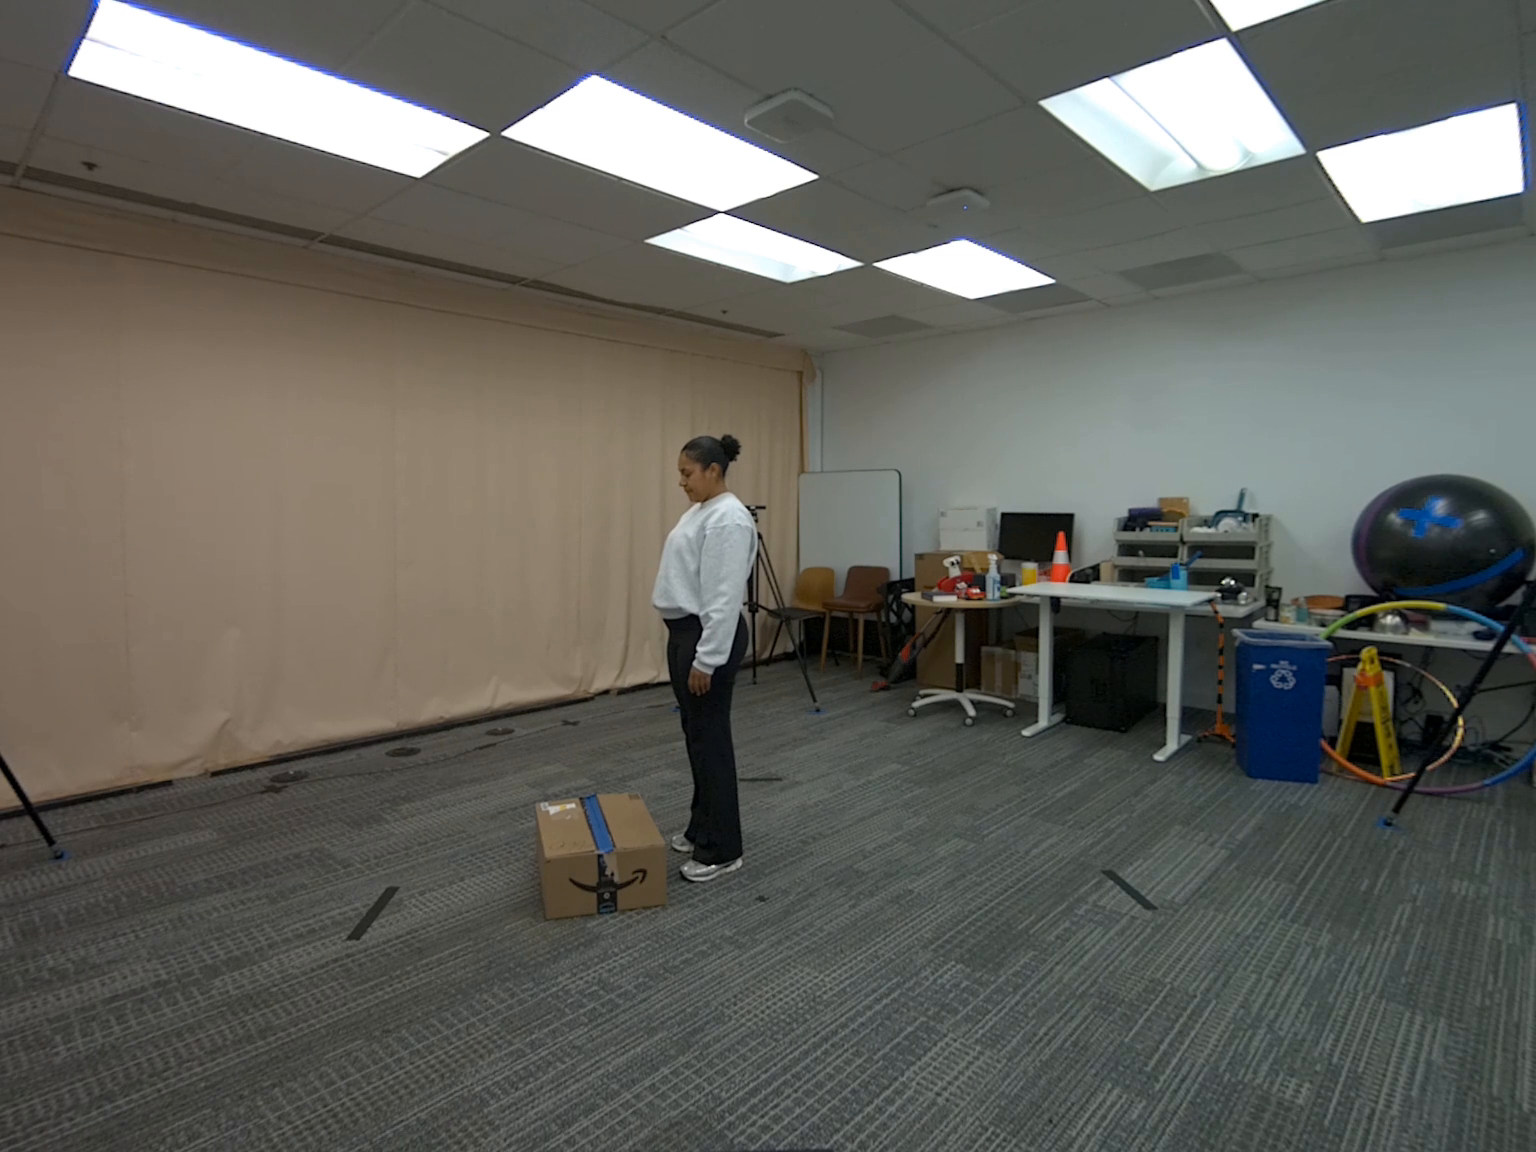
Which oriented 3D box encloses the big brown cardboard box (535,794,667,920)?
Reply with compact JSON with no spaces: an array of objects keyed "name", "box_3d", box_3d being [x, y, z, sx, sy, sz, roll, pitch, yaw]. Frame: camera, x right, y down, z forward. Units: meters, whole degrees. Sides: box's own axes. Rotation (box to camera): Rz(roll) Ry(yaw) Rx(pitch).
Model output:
[{"name":"big brown cardboard box","box_3d":[-0.639,1.022,3.150,0.410,0.232,0.601,-2,6,-18]}]
